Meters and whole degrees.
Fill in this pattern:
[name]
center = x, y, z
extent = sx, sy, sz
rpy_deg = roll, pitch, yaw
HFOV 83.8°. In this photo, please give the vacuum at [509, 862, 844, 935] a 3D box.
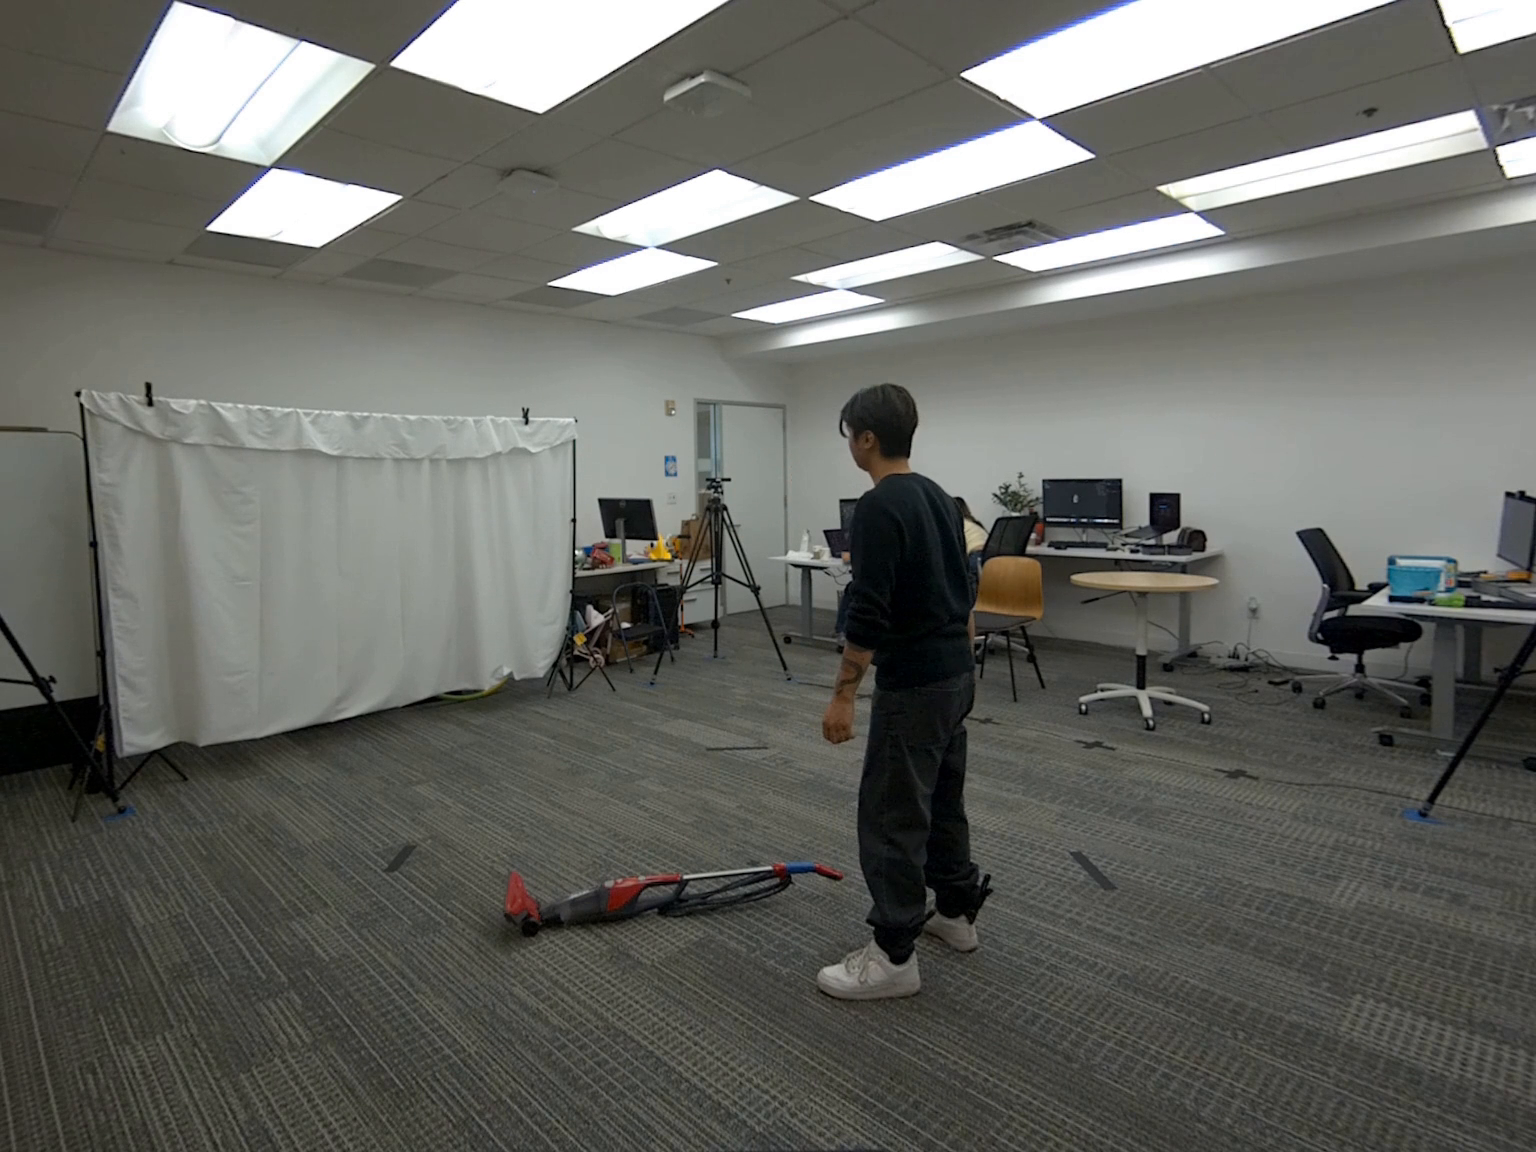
[vacuum]
center = -0.265, 1.022, 2.771
extent = 1.039, 0.142, 0.257
rpy_deg = -1, 12, -10
